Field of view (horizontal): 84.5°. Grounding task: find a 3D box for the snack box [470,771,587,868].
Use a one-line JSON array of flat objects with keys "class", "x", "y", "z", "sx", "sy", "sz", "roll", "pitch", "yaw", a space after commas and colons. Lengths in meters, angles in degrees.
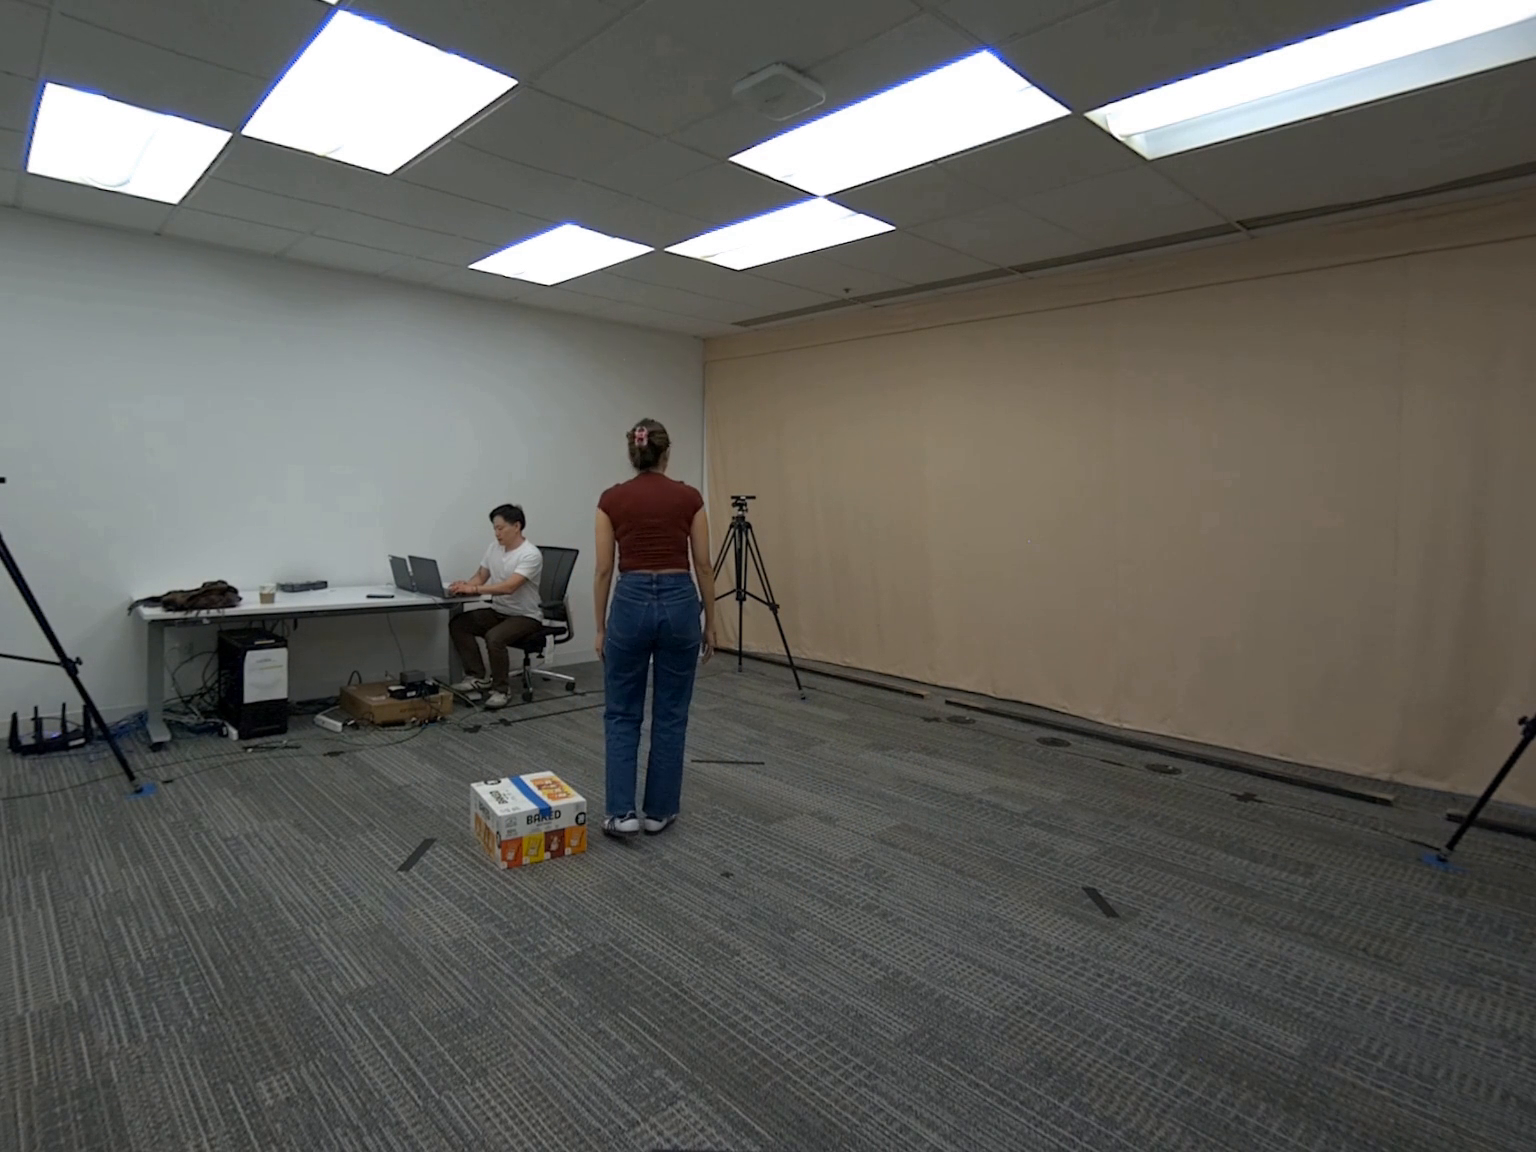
[{"class": "snack box", "x": -0.973, "y": 0.950, "z": 3.355, "sx": 0.333, "sy": 0.205, "sz": 0.415, "roll": -1, "pitch": 5, "yaw": -34}]
